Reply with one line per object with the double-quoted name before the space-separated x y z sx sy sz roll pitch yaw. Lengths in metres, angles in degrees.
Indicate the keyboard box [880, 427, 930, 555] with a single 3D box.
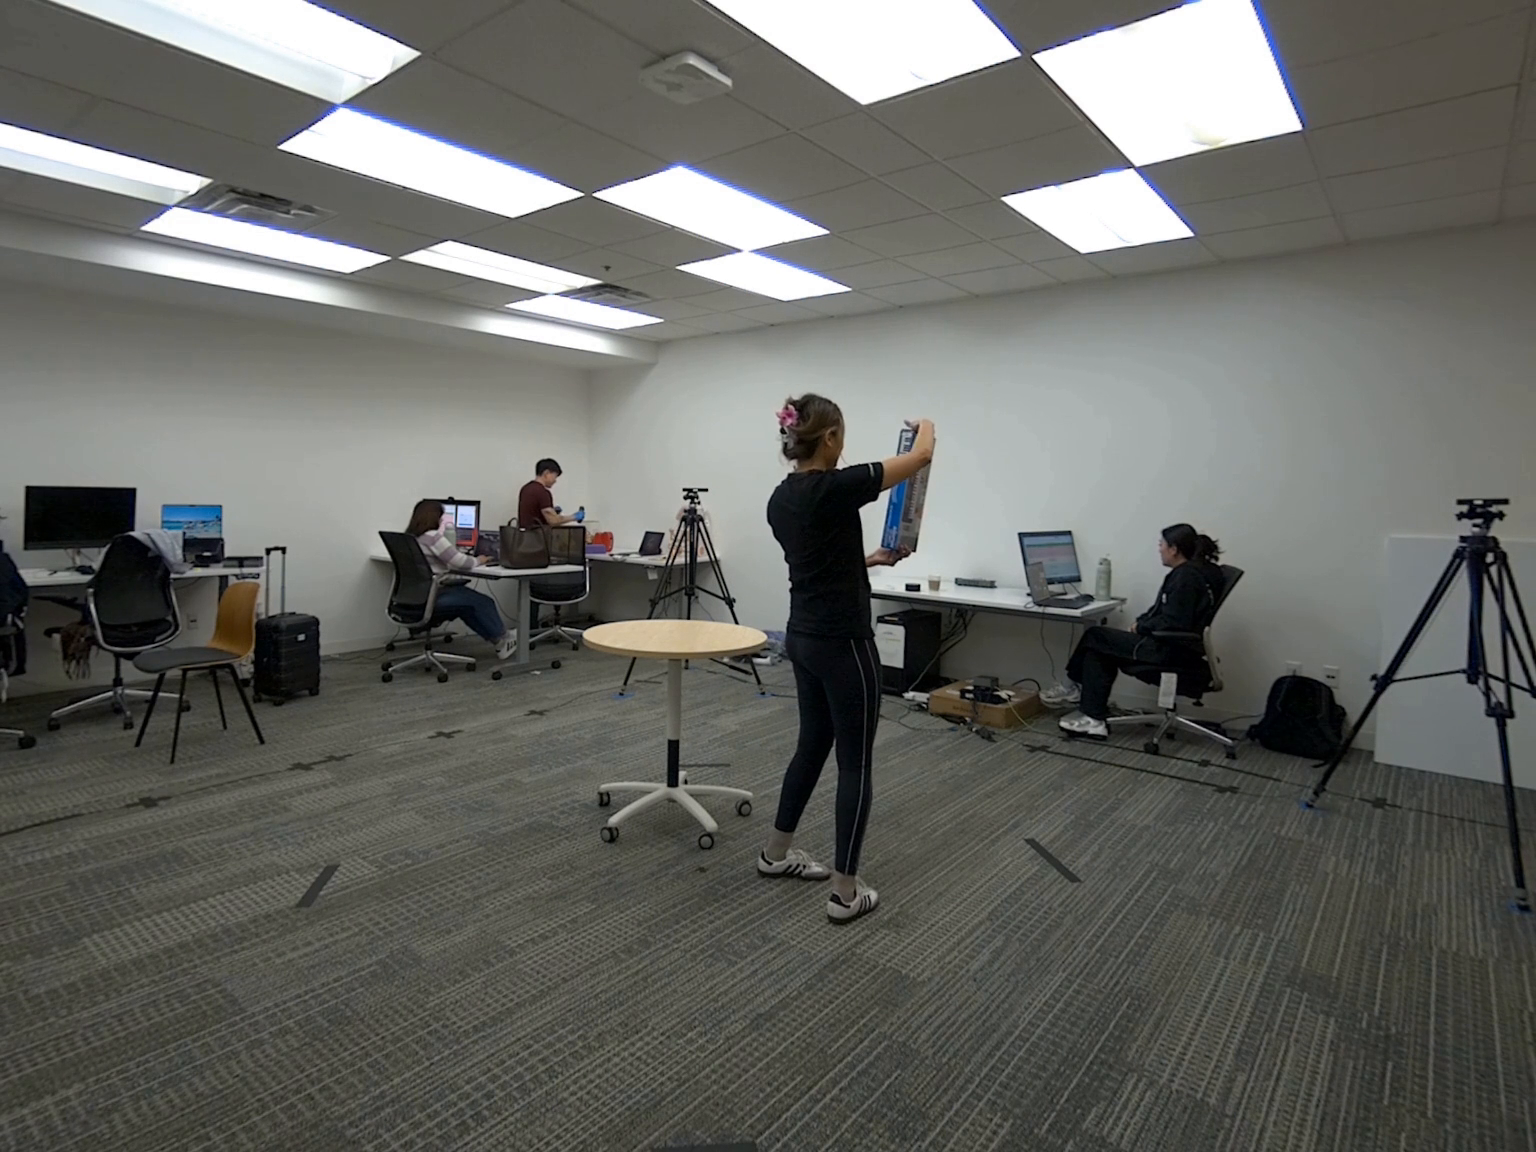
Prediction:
"keyboard box" 0.514 -0.312 3.148 0.061 0.436 0.170 11 2 38
